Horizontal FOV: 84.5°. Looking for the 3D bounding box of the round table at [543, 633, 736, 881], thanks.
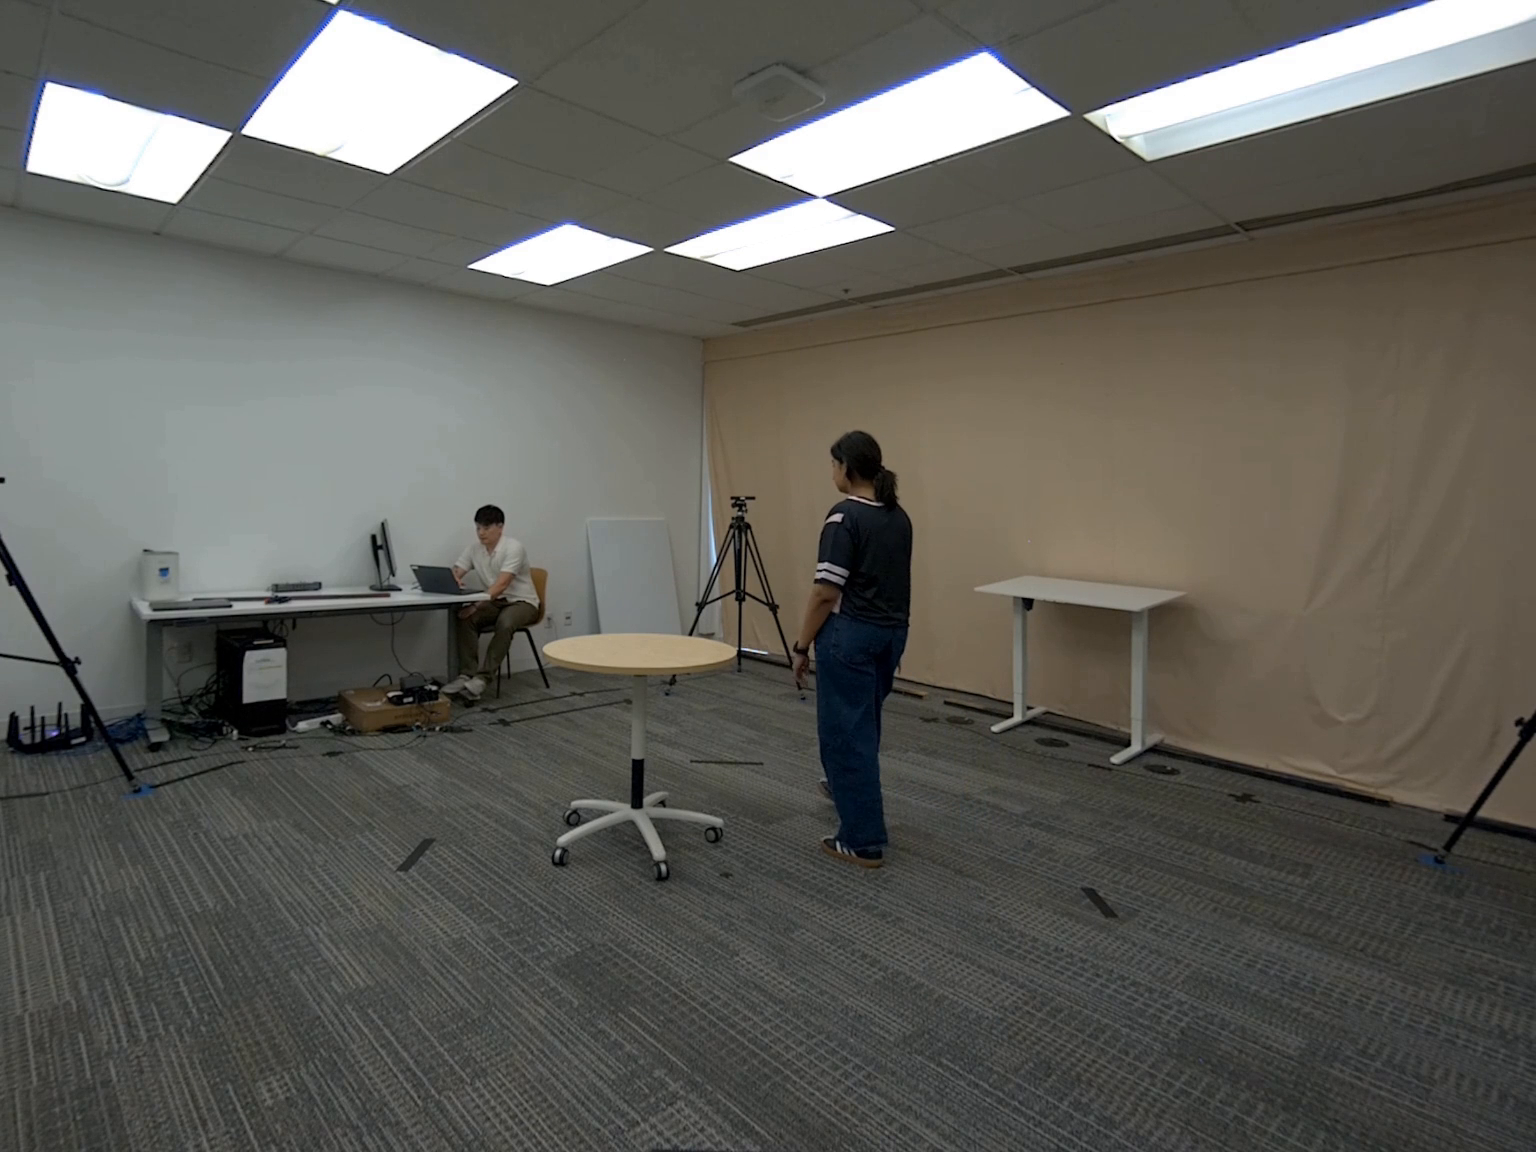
[{"bbox_3d":[-0.530,0.682,3.365,0.763,0.792,0.766,2,4,-1],"label":"round table"}]
